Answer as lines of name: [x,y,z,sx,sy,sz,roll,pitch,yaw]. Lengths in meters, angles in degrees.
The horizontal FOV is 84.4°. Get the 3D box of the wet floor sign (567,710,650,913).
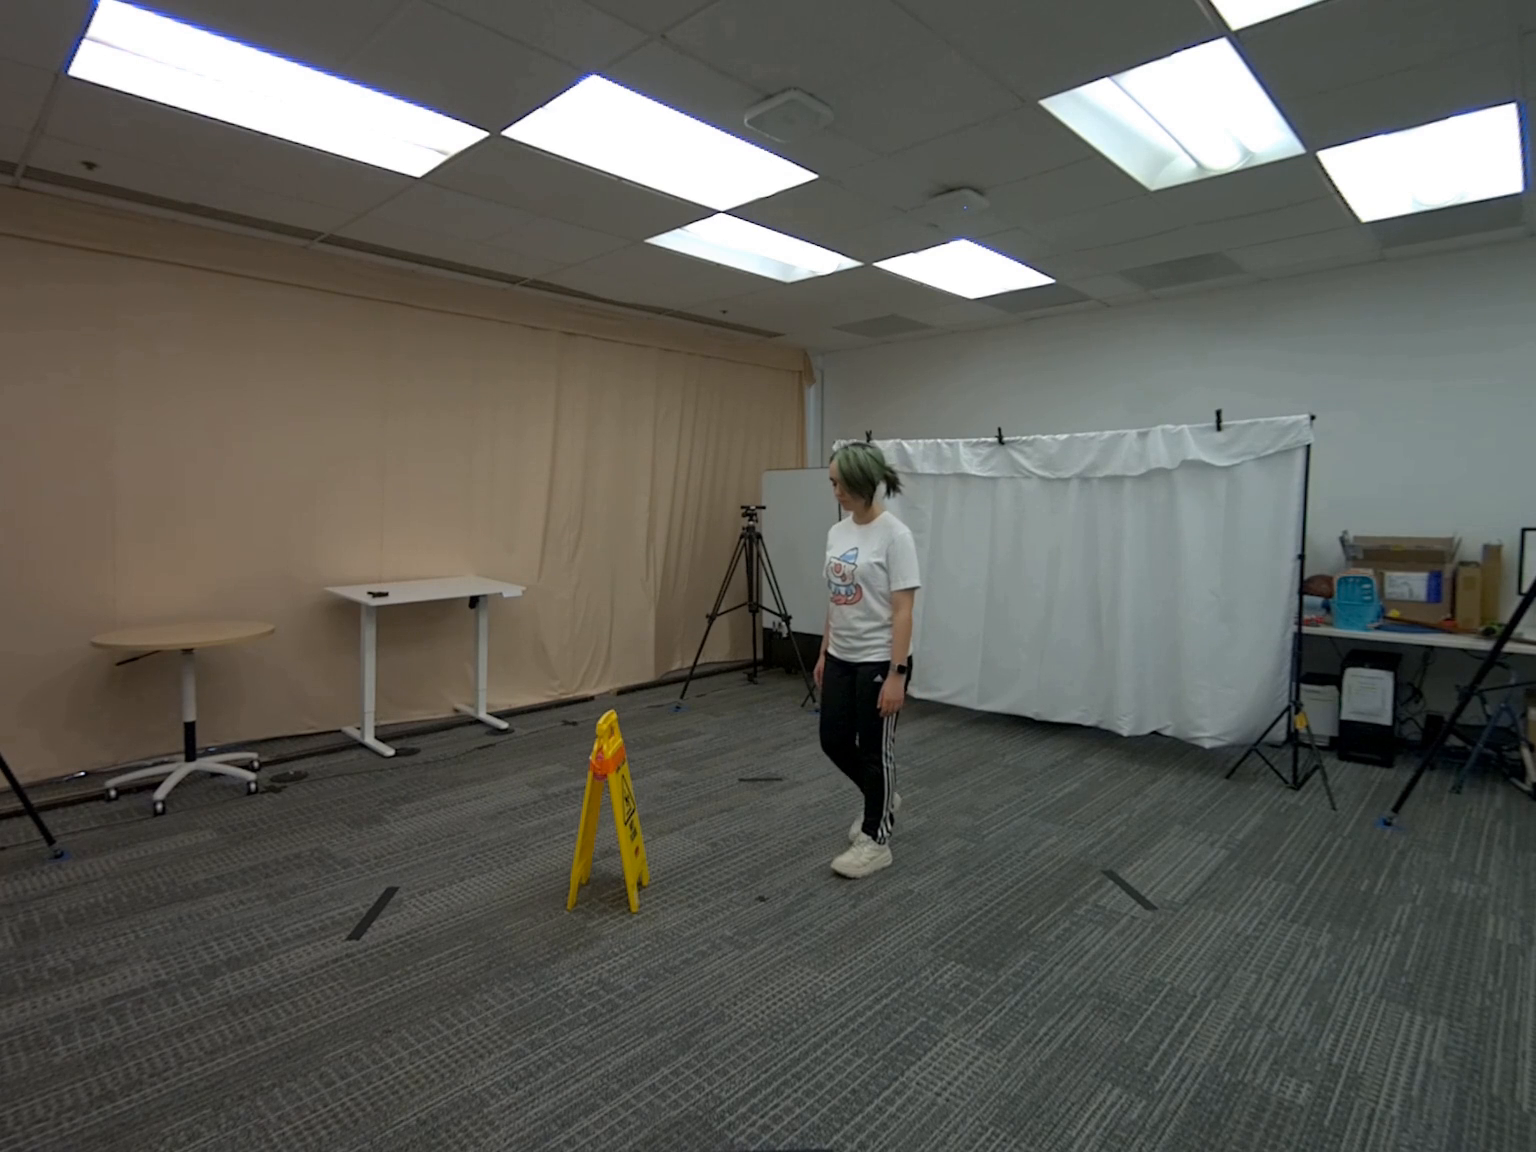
wet floor sign: [-0.574,0.822,3.020,0.291,0.645,0.281,0,2,3]
